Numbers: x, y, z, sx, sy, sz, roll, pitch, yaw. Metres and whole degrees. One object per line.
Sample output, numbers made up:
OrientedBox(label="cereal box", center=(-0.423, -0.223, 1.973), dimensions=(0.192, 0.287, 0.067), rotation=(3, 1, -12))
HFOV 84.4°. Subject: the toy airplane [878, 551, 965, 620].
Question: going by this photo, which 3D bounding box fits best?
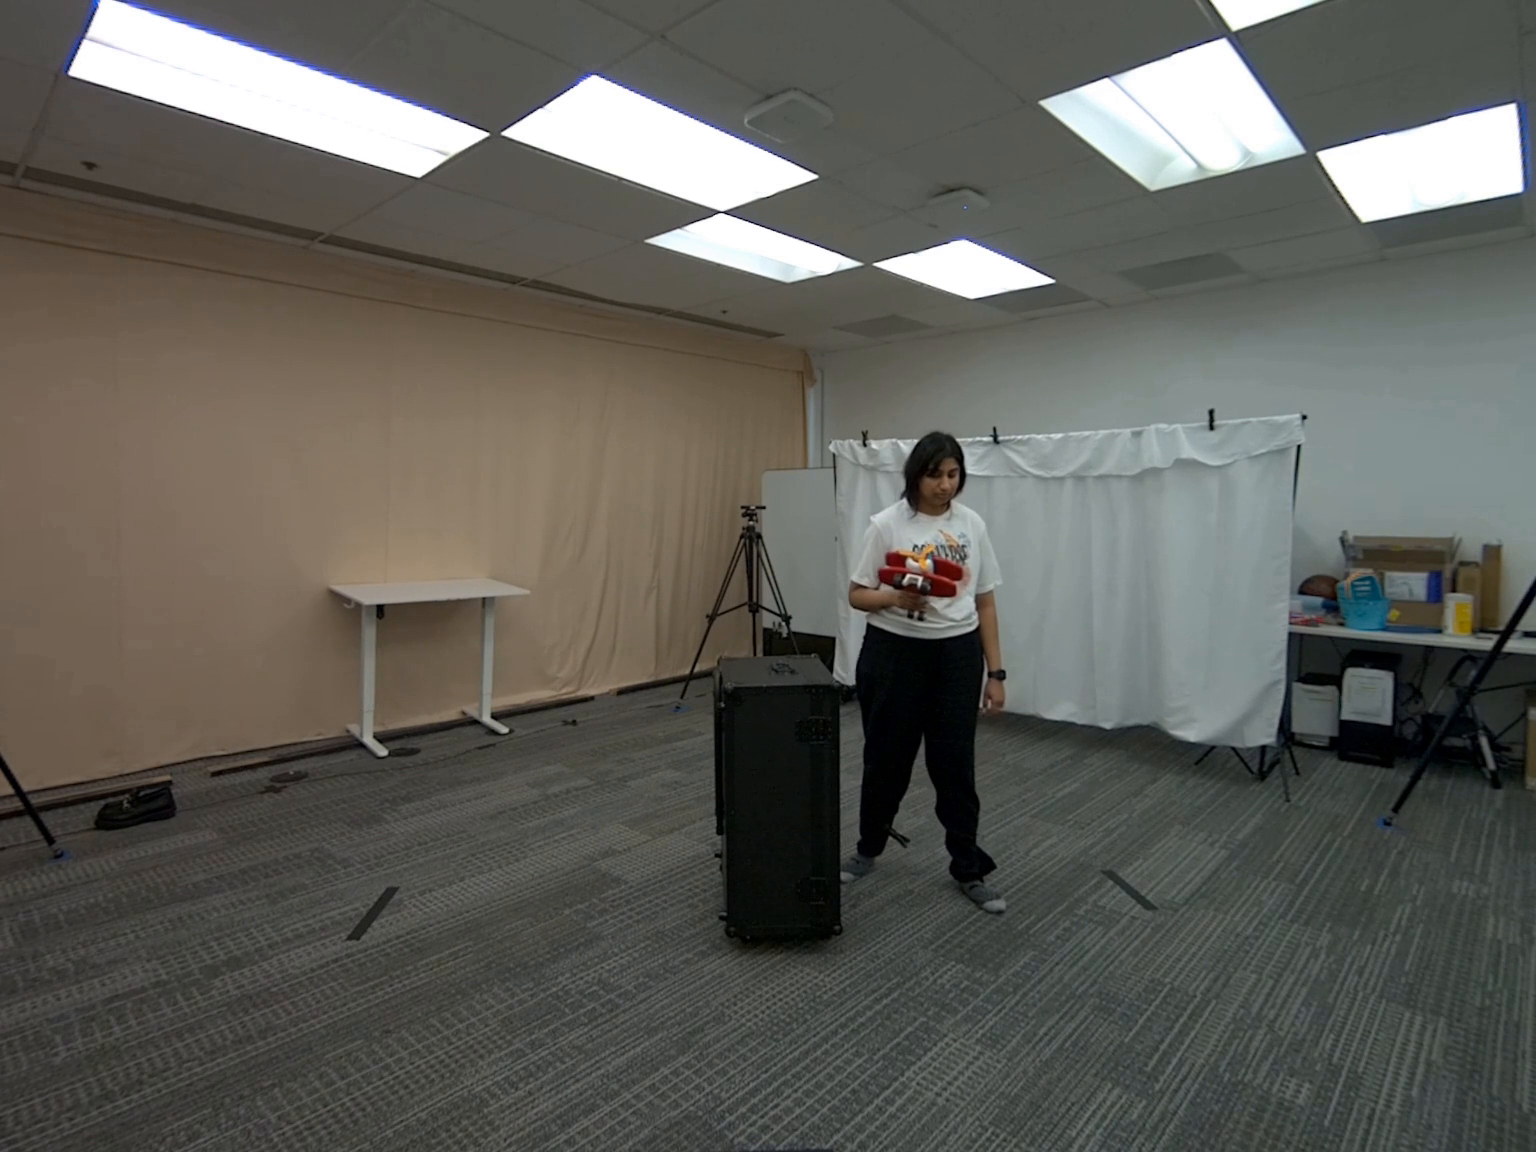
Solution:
OrientedBox(label="toy airplane", center=(0.463, 0.026, 2.737), dimensions=(0.252, 0.157, 0.258), rotation=(25, -26, 1))
